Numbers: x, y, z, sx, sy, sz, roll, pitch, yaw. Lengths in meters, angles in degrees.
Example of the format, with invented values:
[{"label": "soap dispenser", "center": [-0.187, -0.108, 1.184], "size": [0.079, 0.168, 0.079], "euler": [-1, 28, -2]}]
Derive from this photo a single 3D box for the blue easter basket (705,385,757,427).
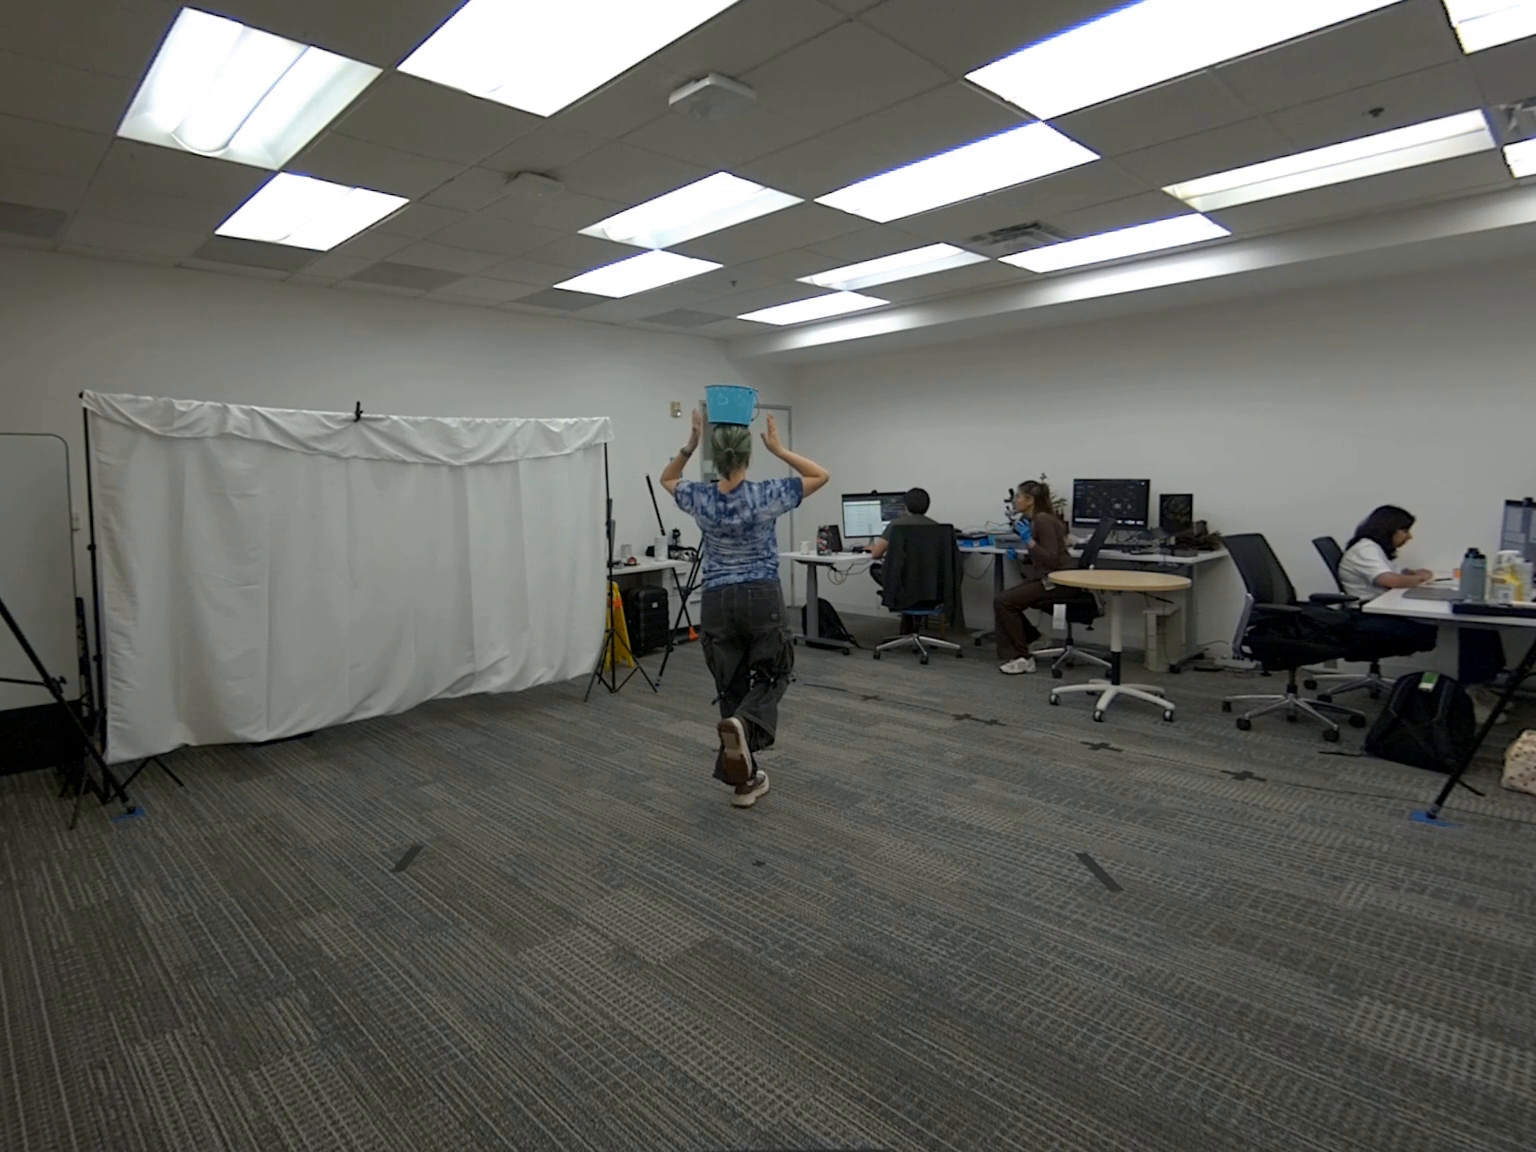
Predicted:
[{"label": "blue easter basket", "center": [-0.165, -0.719, 3.656], "size": [0.243, 0.155, 0.245], "euler": [2, 4, -2]}]
